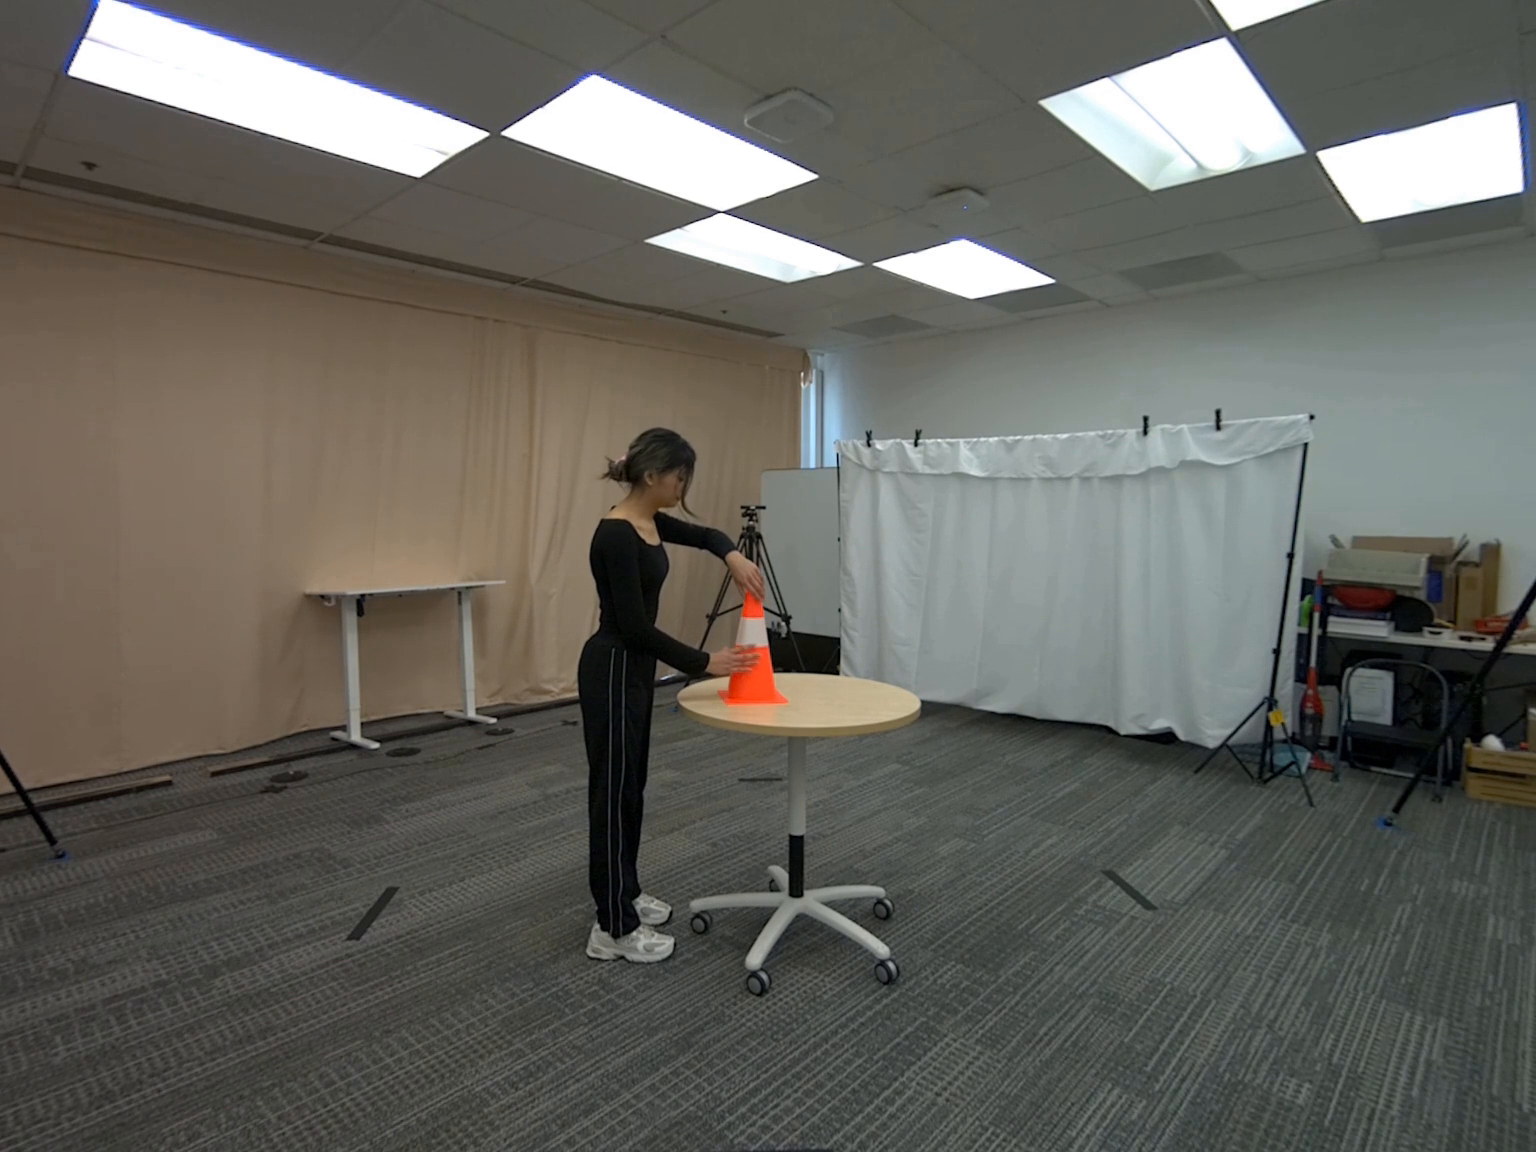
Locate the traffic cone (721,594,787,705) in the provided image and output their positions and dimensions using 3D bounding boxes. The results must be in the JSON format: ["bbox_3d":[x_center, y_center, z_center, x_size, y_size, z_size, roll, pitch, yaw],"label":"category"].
[{"bbox_3d":[-0.048,0.200,2.655,0.201,0.383,0.207,0,2,-9],"label":"traffic cone"}]
